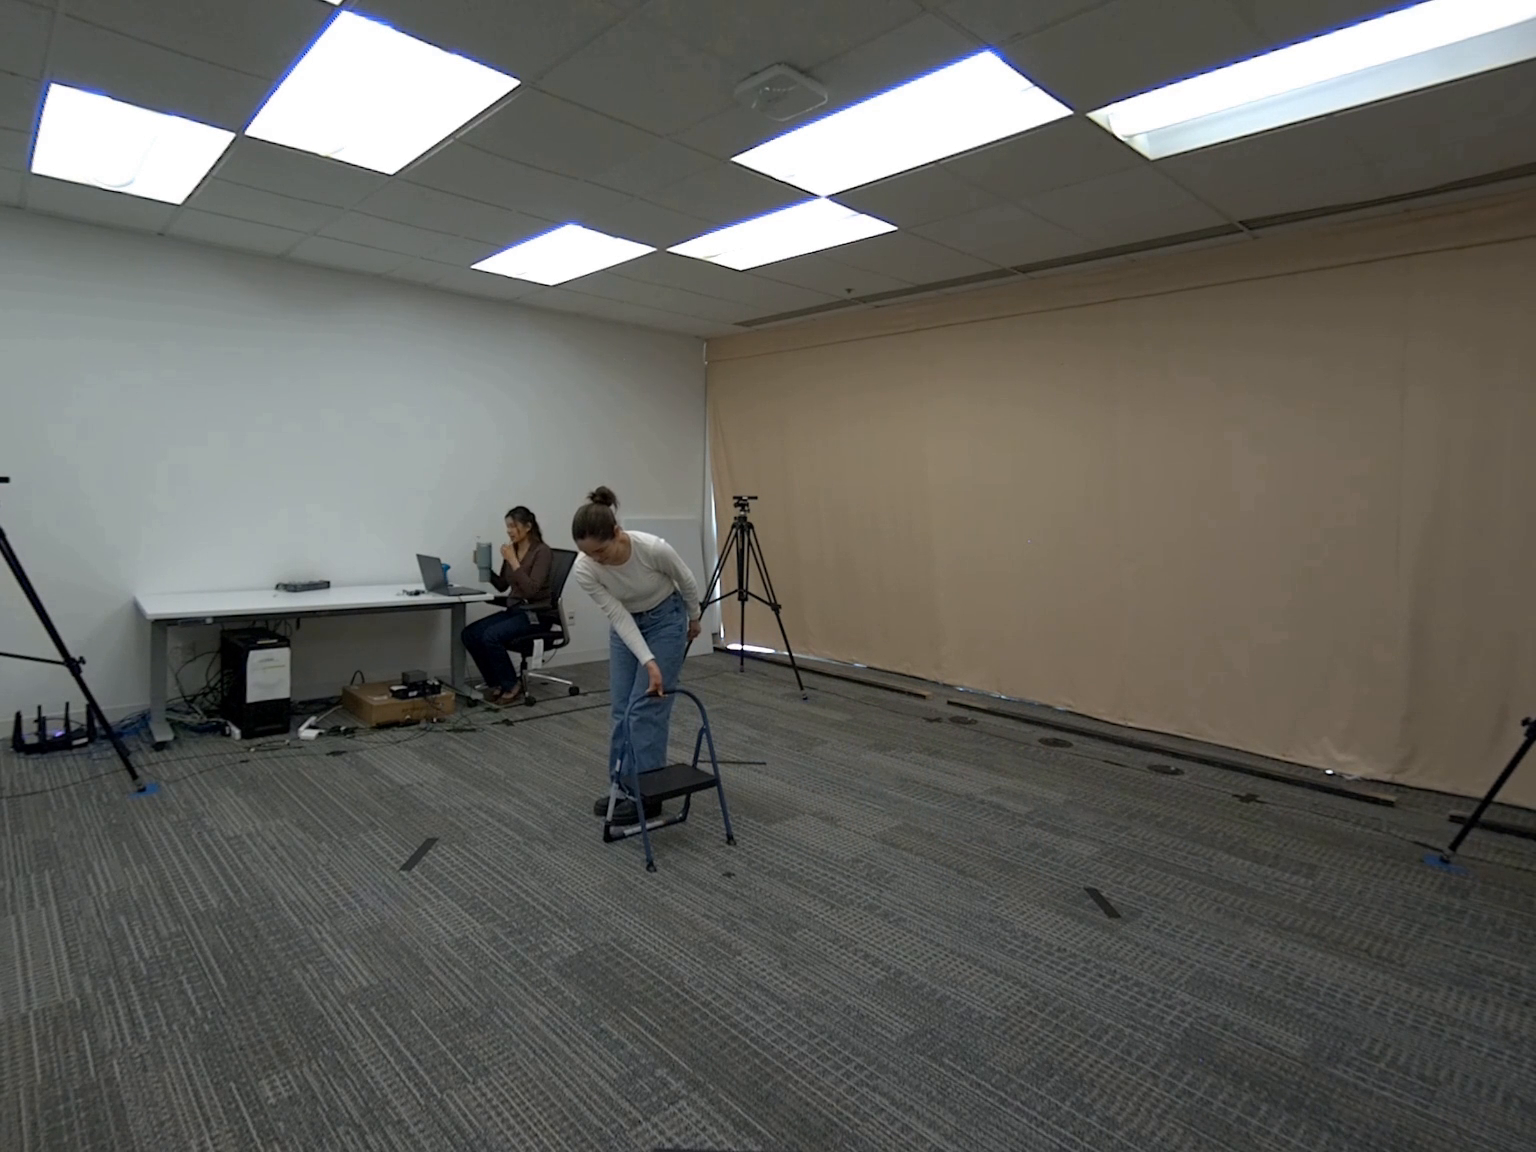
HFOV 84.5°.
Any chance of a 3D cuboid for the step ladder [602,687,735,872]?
[{"bbox_3d":[-0.394,0.774,3.362,0.421,0.604,0.358,-2,5,-43],"label":"step ladder"}]
